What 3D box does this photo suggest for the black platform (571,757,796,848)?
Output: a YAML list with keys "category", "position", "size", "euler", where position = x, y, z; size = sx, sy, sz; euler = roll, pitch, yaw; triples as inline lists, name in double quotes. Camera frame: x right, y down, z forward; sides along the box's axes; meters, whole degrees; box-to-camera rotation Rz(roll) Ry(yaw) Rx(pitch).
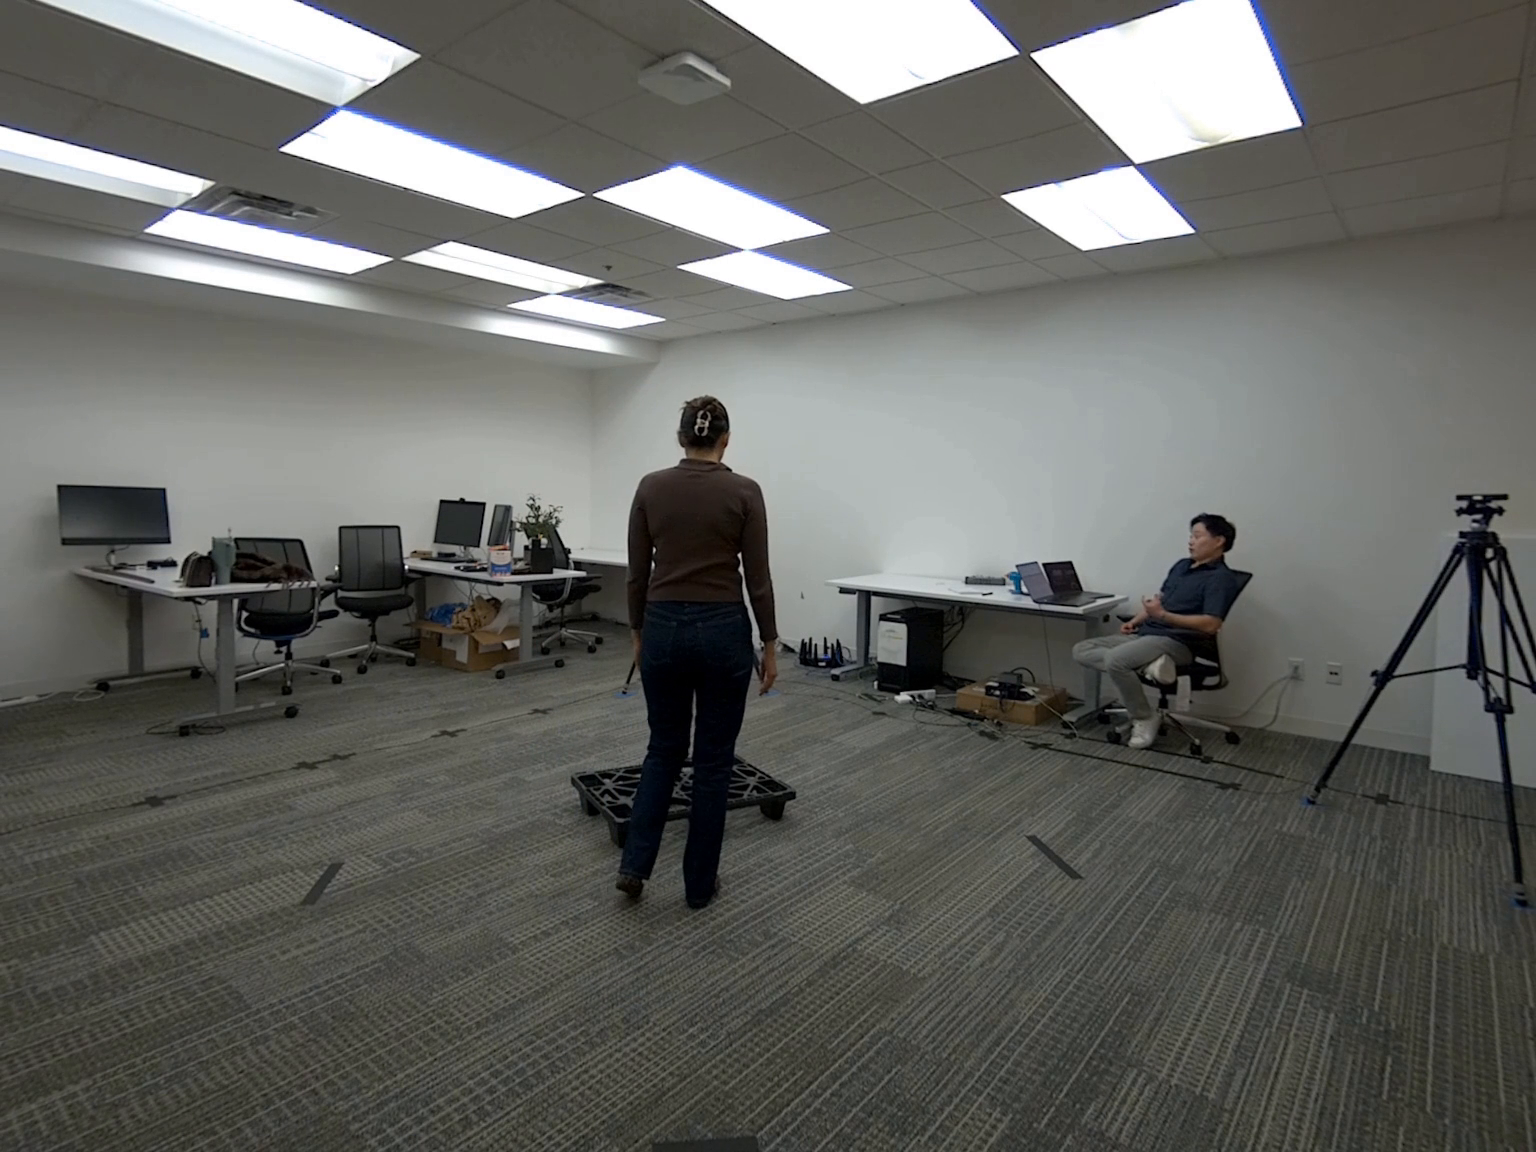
- category: "black platform"
  position: [-0.376, 0.944, 3.629]
  size: [0.785, 0.142, 0.624]
  euler: [-3, 7, -29]
